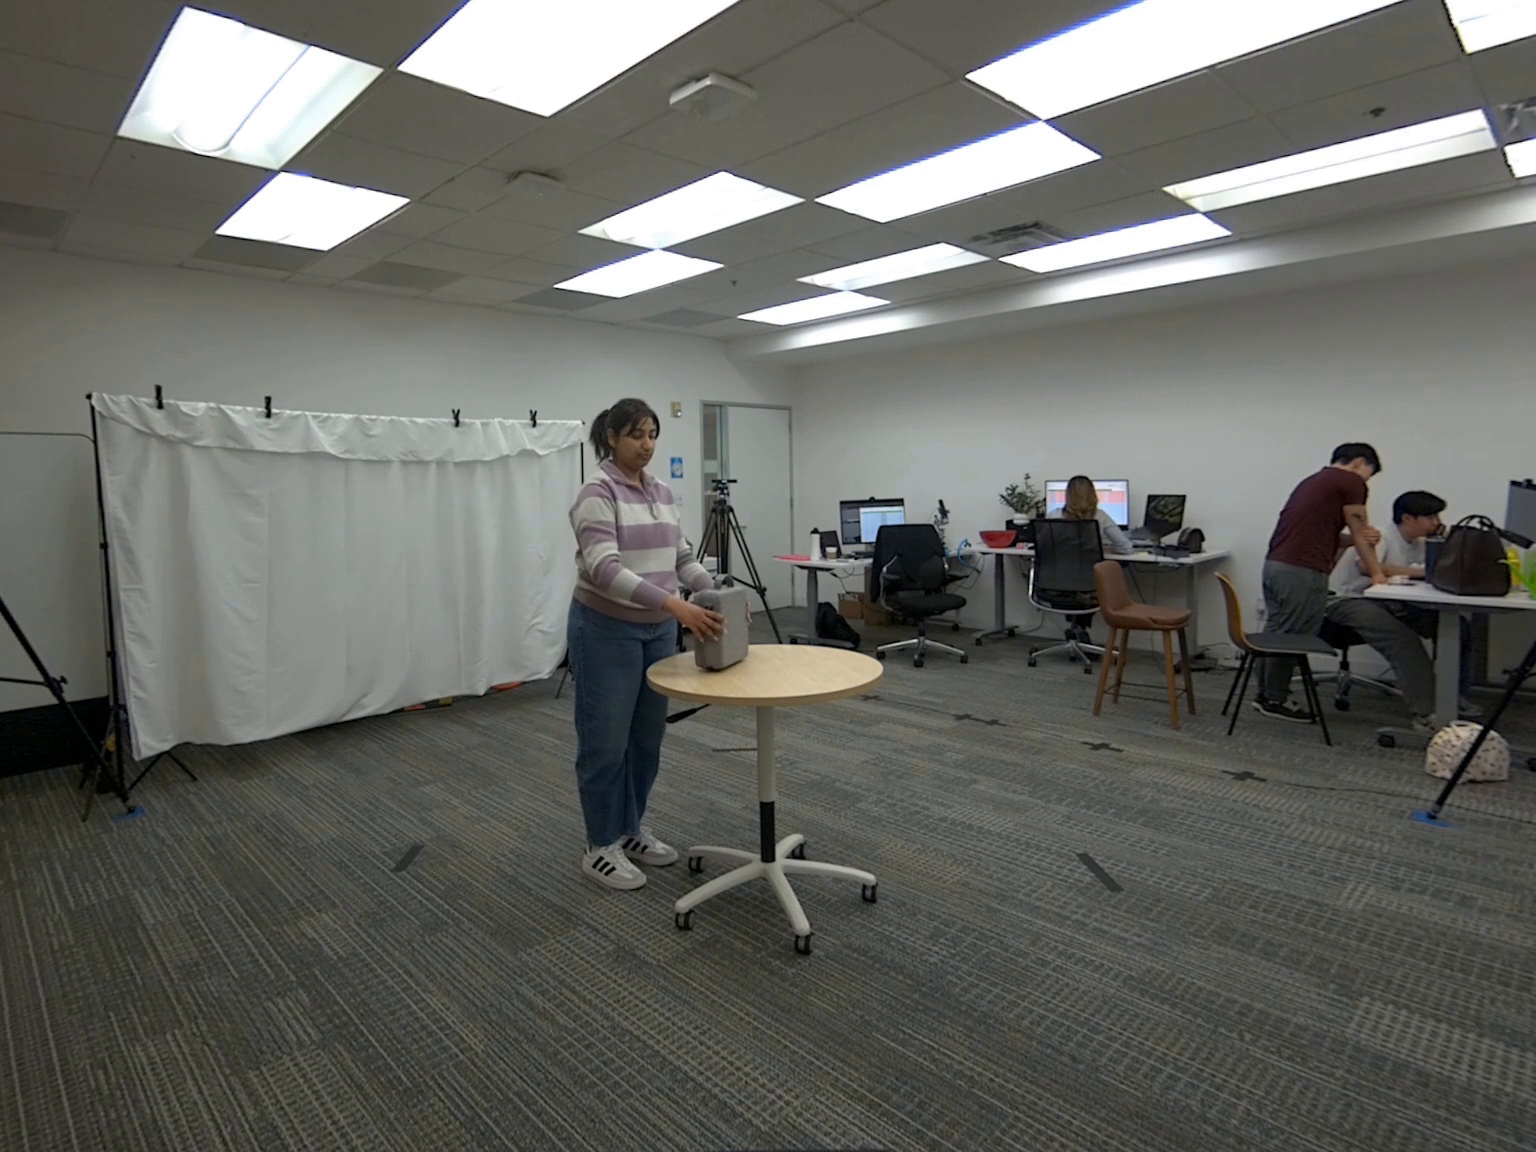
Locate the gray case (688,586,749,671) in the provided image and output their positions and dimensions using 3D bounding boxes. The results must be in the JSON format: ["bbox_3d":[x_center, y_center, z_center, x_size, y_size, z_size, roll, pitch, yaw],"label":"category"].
[{"bbox_3d":[-0.151,0.165,2.830,0.106,0.260,0.252,-2,2,20],"label":"gray case"}]
